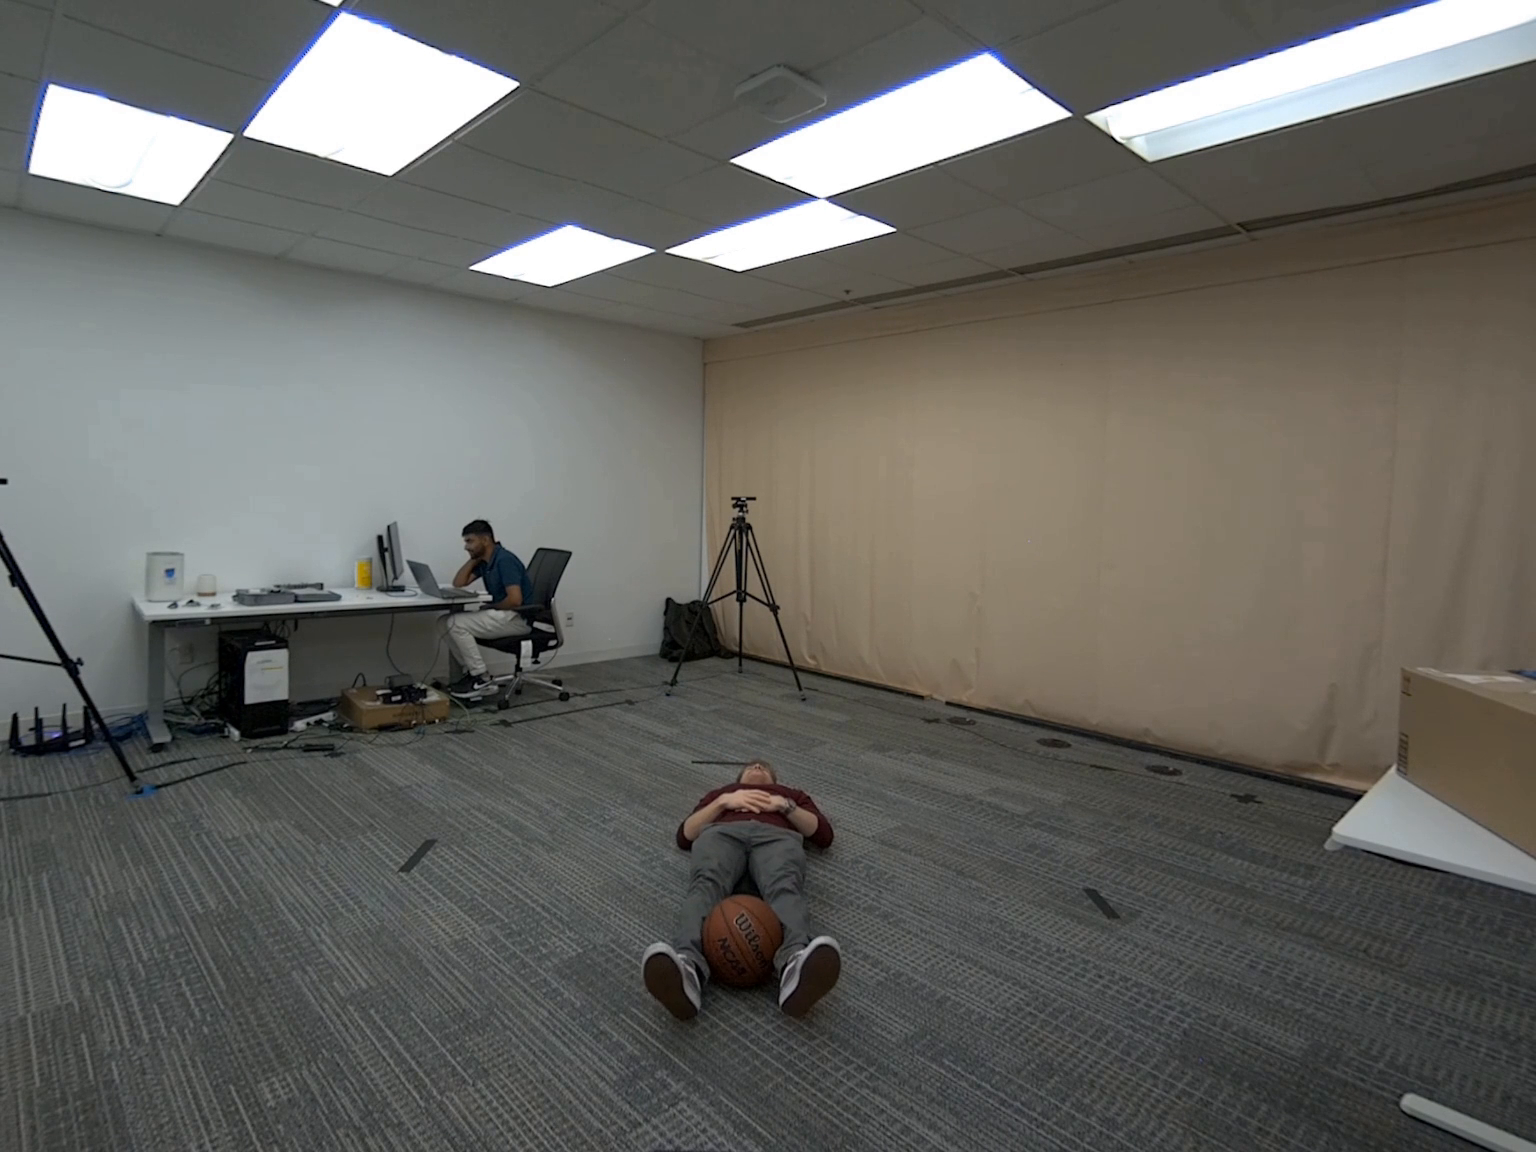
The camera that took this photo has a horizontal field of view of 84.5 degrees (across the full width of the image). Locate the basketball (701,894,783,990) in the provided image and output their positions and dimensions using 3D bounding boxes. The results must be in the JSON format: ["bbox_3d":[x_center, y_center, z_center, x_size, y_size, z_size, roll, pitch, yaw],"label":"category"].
[{"bbox_3d":[-0.079,1.044,2.421,0.236,0.235,0.237,1,4,-1],"label":"basketball"}]
